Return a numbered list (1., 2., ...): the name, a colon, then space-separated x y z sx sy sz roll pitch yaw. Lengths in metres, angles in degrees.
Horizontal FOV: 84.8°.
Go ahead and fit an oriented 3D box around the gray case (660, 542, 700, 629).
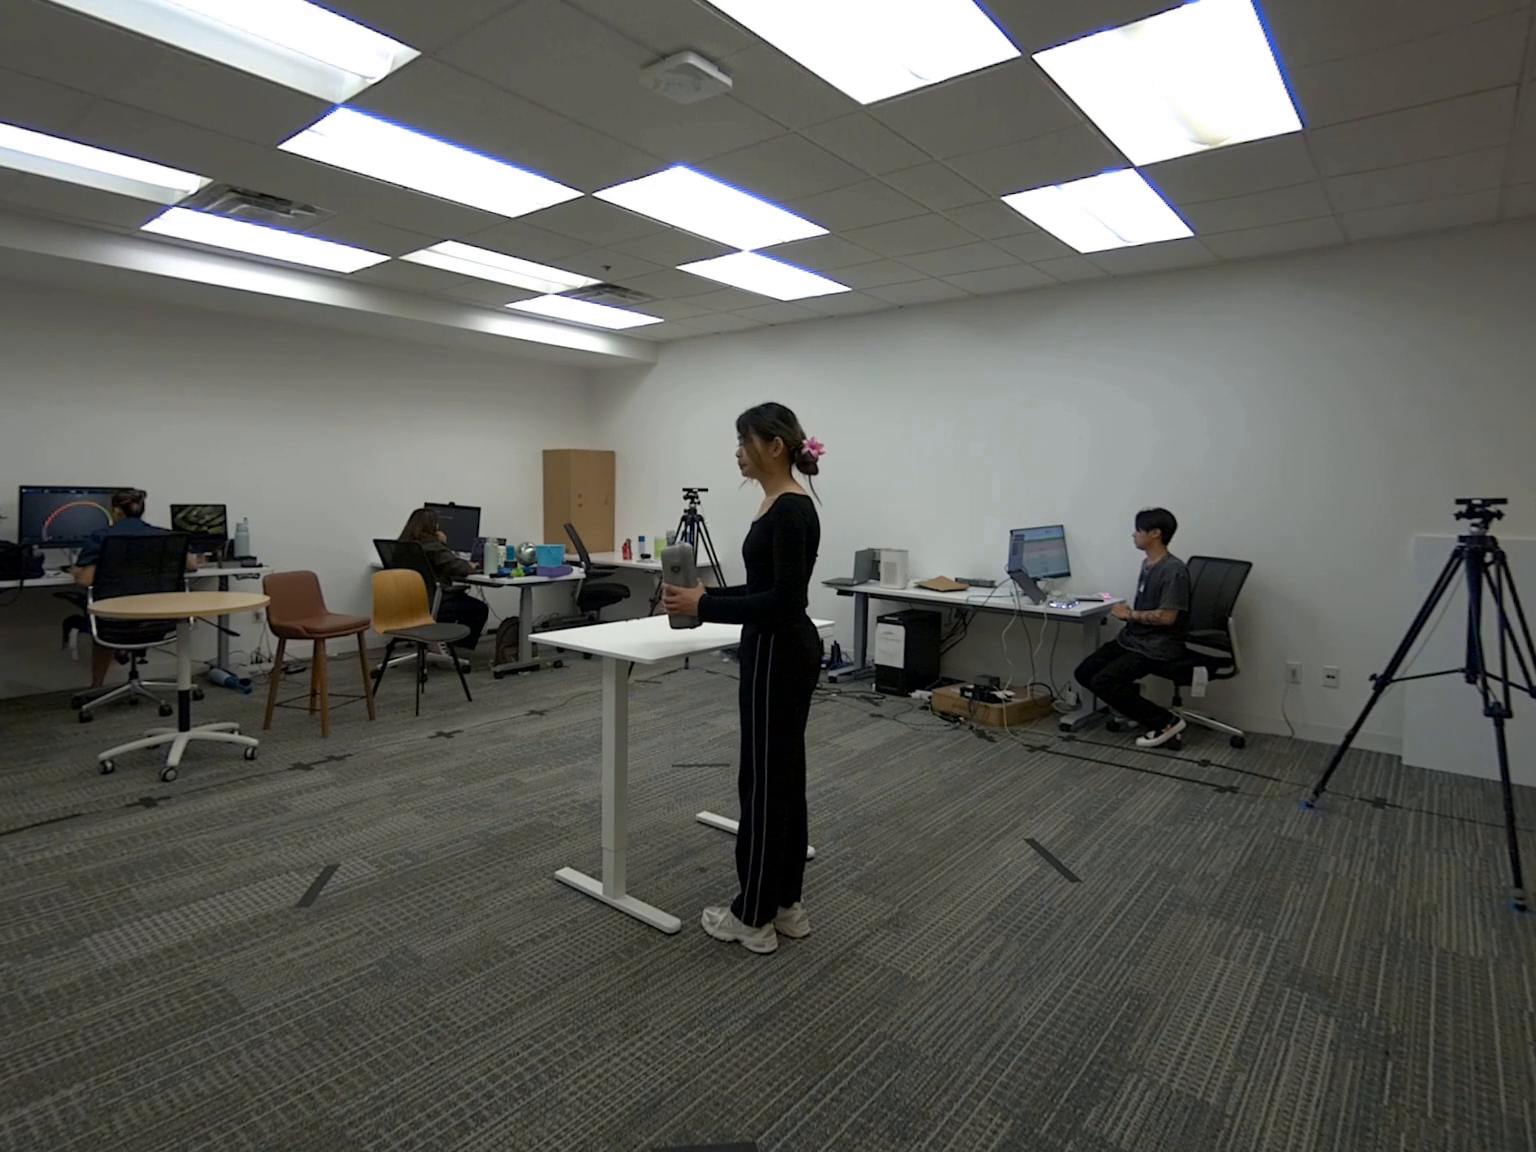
1. gray case: -0.274 0.022 2.620 0.104 0.260 0.258 -10 3 -5
